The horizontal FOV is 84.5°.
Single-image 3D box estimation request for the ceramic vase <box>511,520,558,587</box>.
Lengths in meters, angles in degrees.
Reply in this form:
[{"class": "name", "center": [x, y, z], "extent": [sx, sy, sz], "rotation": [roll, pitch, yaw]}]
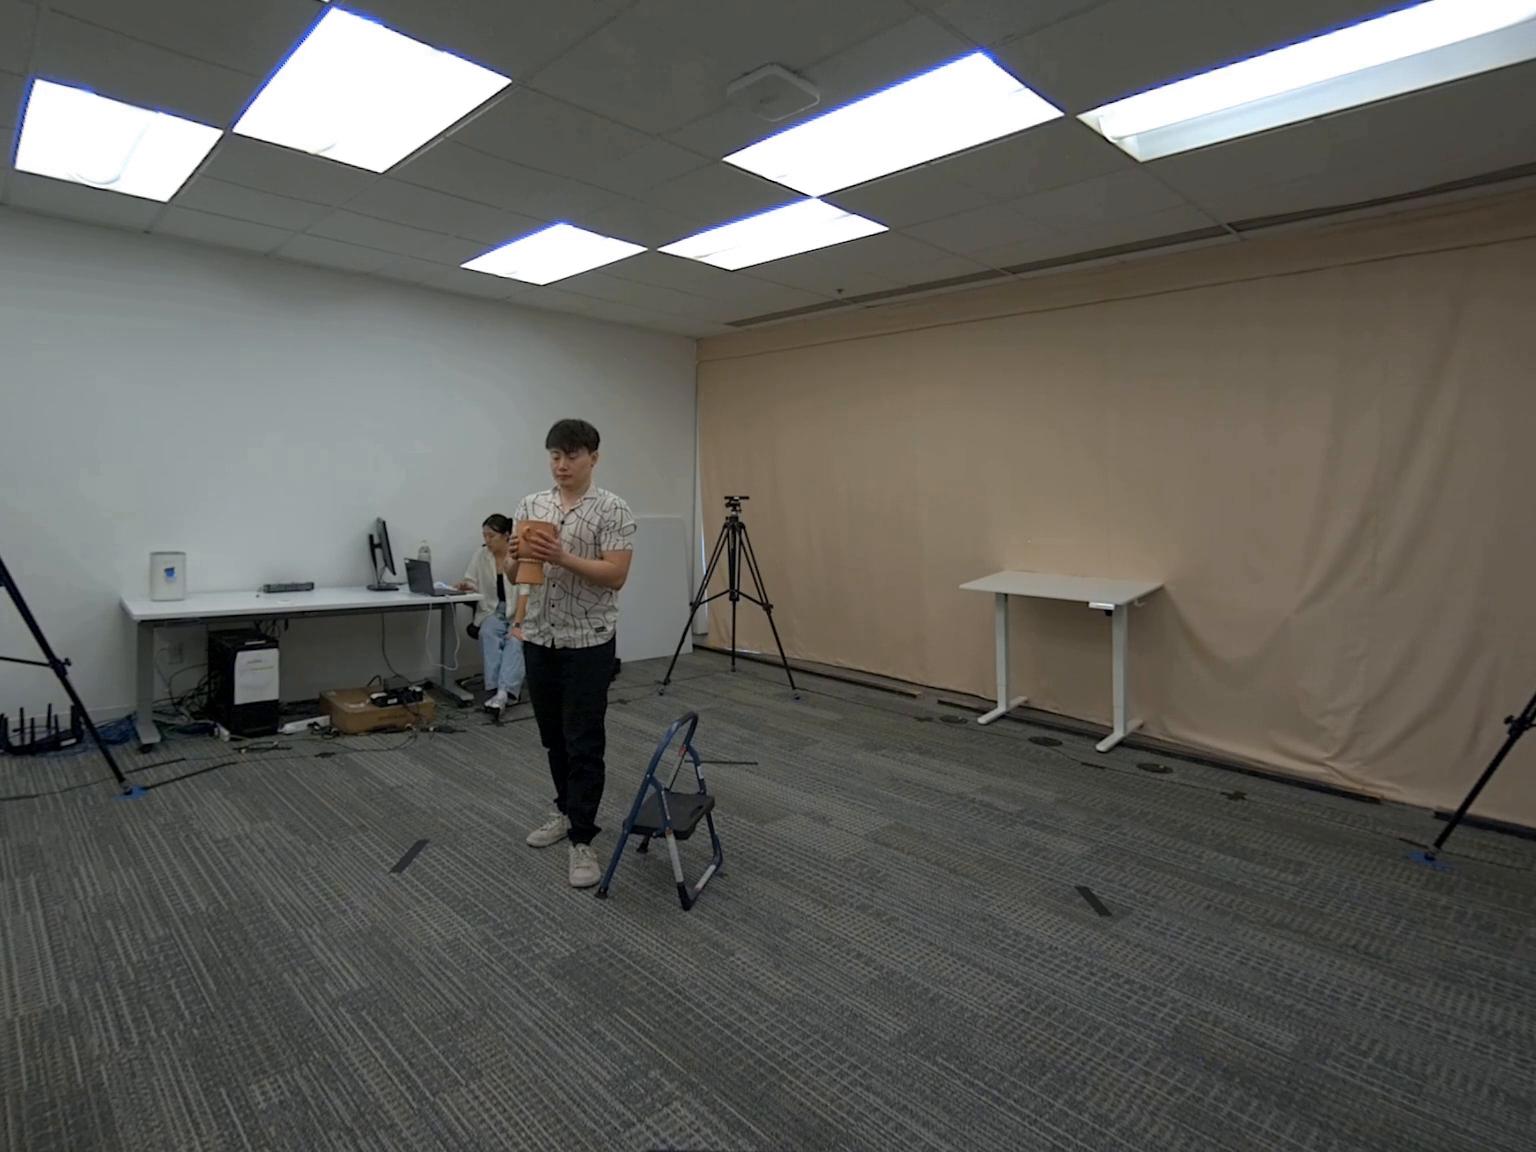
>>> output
[{"class": "ceramic vase", "center": [-0.842, -0.086, 2.998], "extent": [0.154, 0.220, 0.138], "rotation": [8, -5, -43]}]
